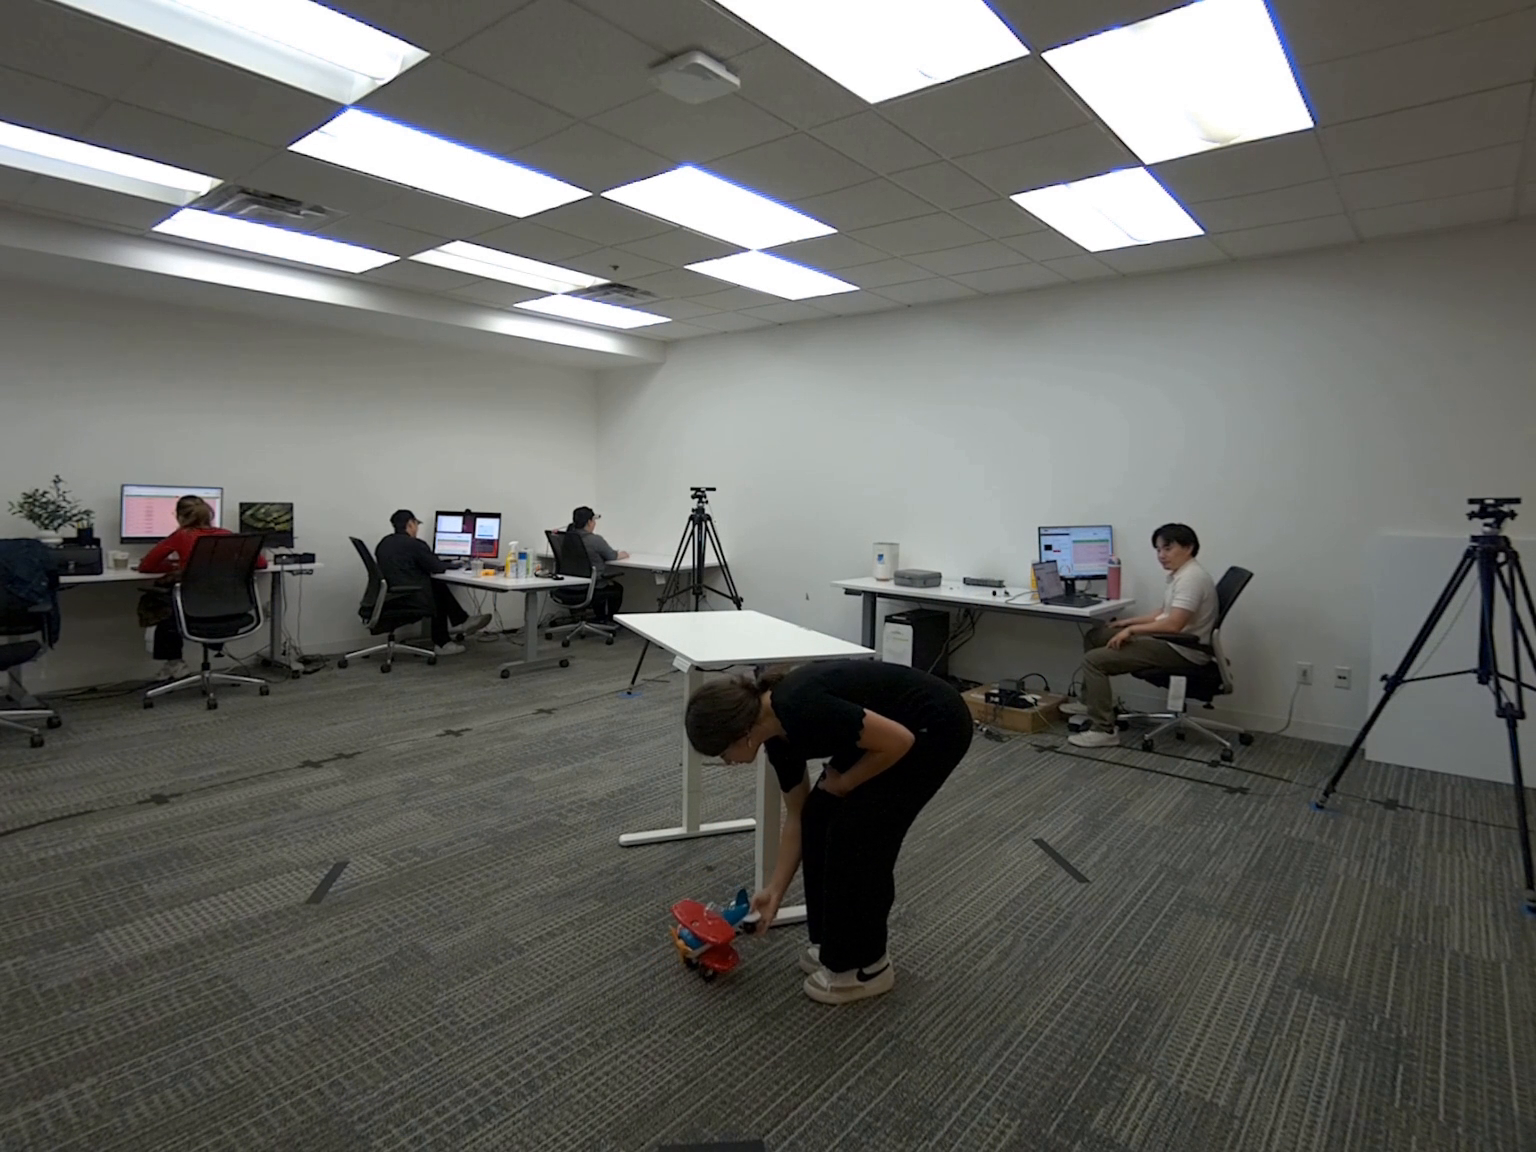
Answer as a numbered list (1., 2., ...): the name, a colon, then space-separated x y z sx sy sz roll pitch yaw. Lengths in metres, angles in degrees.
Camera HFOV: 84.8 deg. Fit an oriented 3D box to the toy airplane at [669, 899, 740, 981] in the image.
1. toy airplane: -0.171 1.020 2.492 0.257 0.153 0.259 -9 23 27
